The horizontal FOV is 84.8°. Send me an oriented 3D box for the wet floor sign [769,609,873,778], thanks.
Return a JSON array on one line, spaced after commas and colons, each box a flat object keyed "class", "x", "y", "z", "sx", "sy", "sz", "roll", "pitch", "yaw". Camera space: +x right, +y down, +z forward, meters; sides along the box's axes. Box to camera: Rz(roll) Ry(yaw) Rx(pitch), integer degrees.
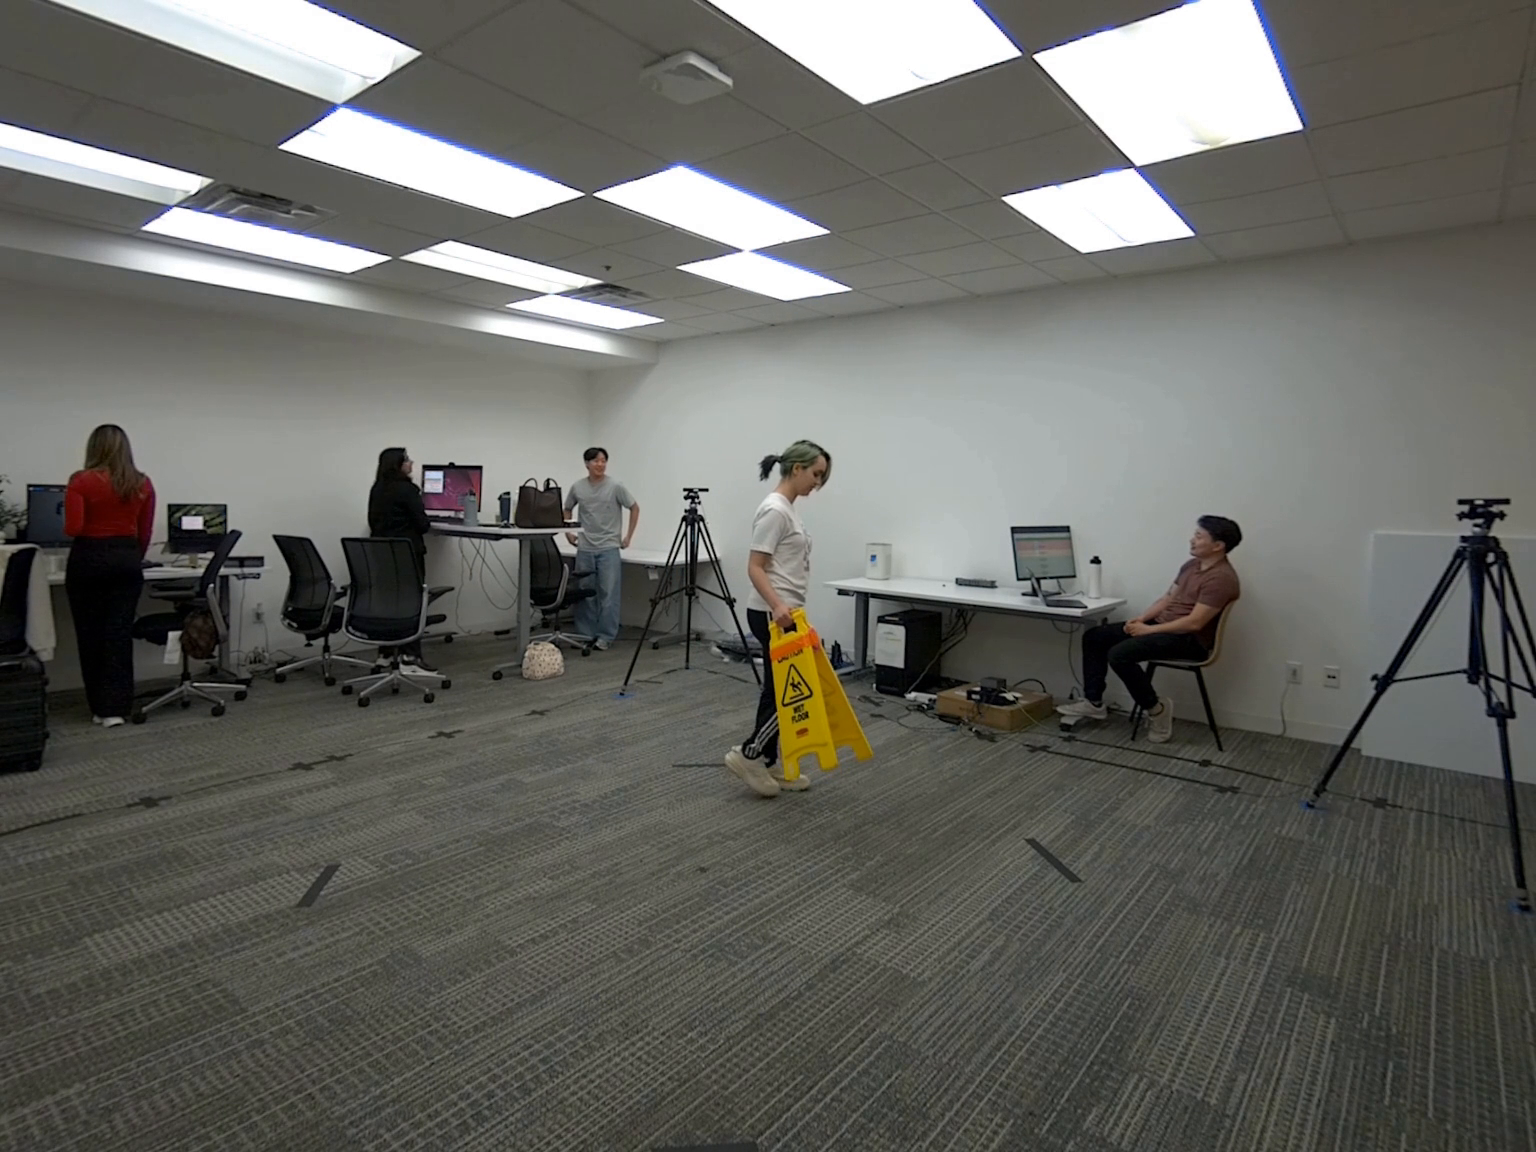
[{"class": "wet floor sign", "x": 0.158, "y": 0.468, "z": 3.511, "sx": 0.280, "sy": 0.659, "sz": 0.286, "roll": 1, "pitch": -23, "yaw": -46}]
